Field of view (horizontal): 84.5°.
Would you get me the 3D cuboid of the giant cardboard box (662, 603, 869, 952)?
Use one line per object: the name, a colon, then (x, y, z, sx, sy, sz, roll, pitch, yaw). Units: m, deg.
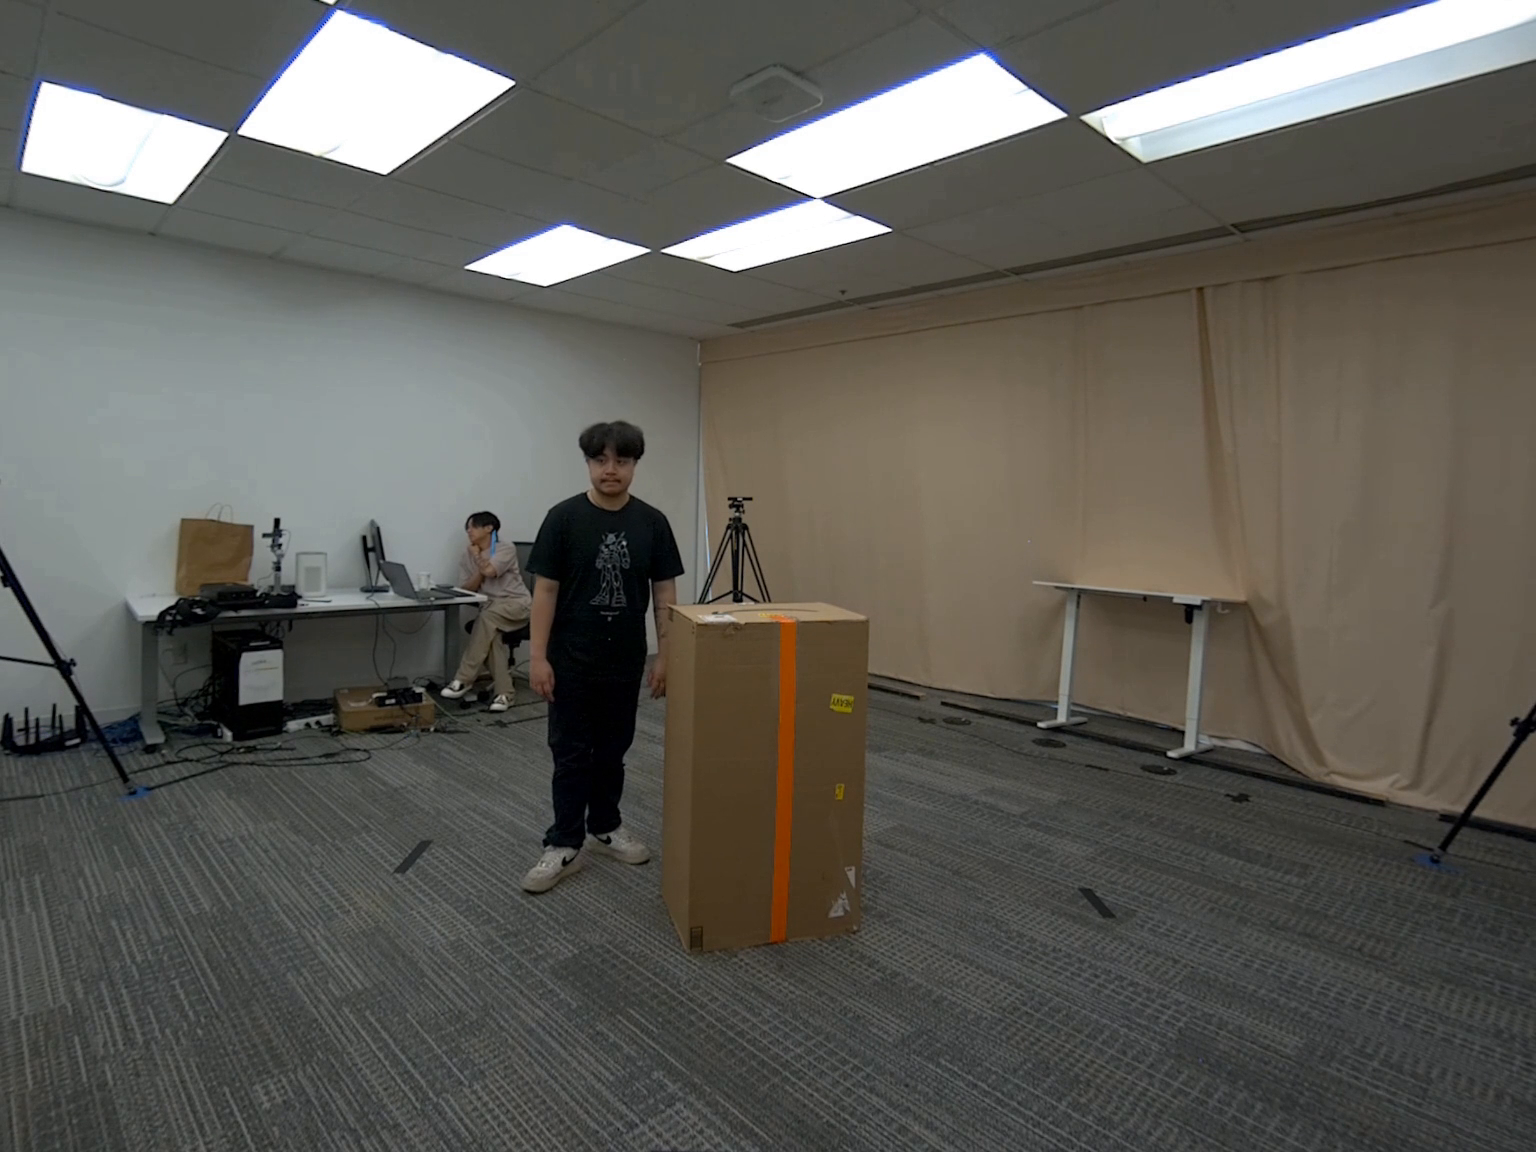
giant cardboard box: (-0.031, 0.625, 2.811, 0.576, 1.024, 0.454, 0, 4, -17)
